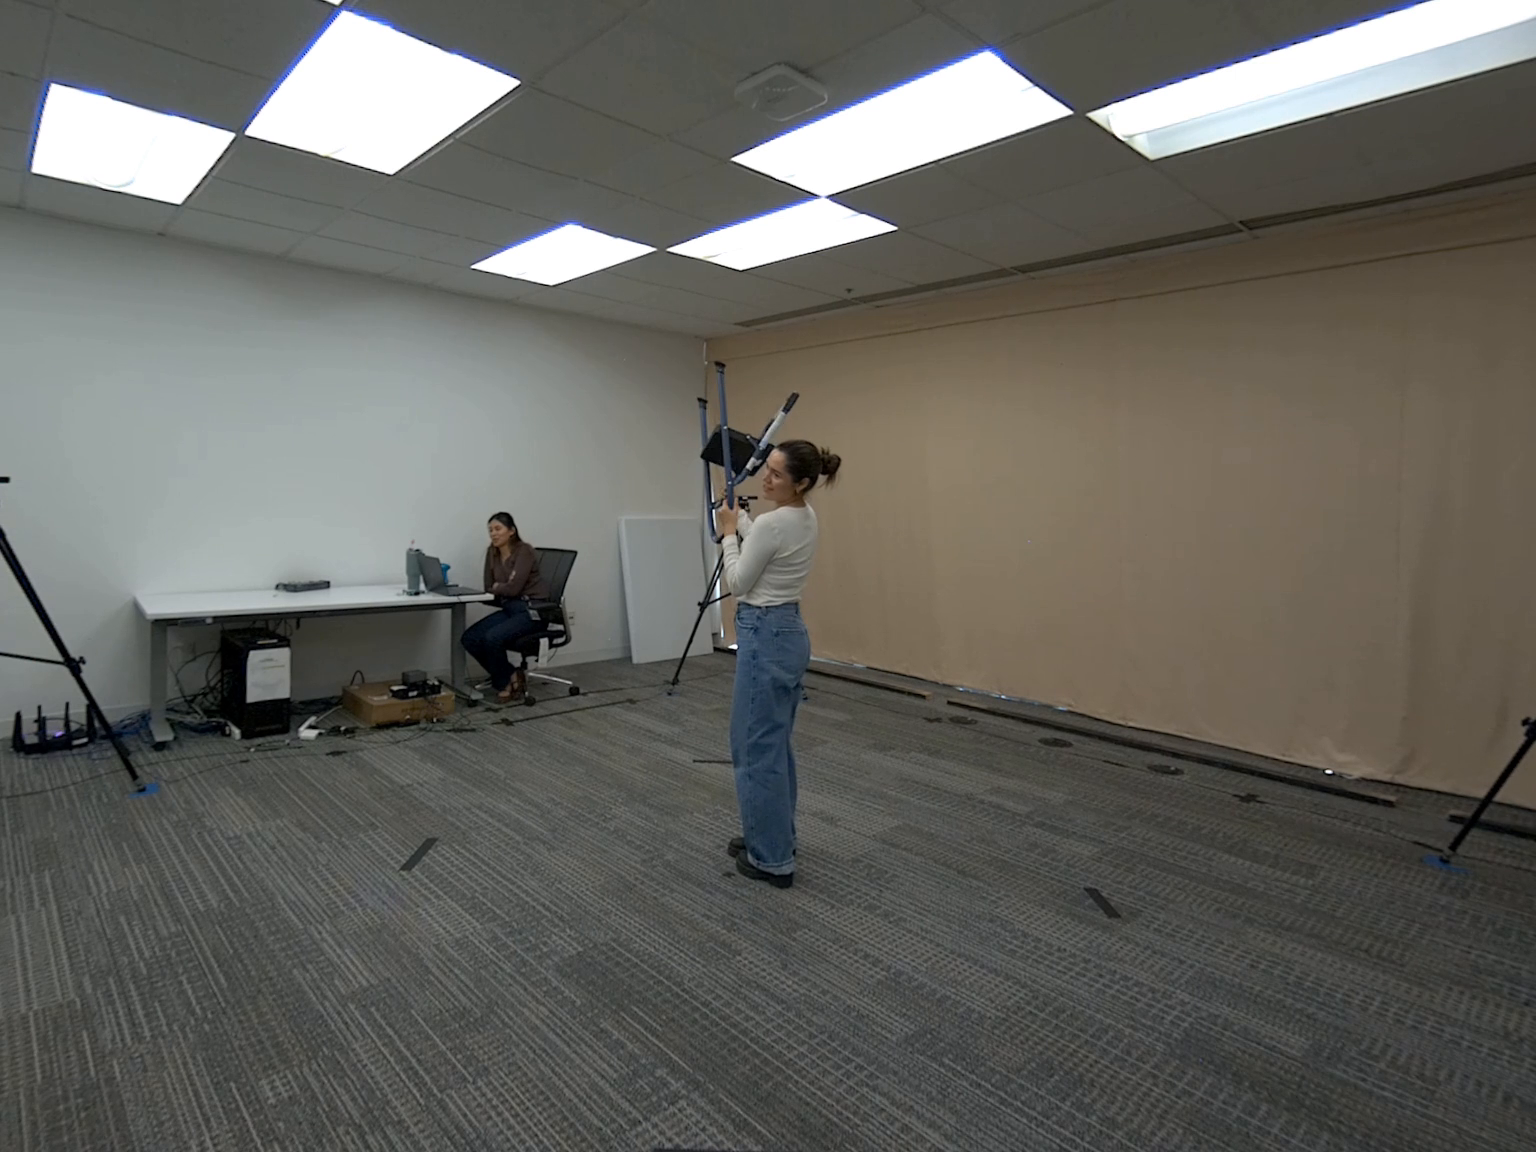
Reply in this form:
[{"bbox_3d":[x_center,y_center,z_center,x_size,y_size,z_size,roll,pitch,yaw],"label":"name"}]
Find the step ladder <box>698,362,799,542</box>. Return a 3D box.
[{"bbox_3d":[-0.175,-0.445,3.338,0.347,0.610,0.431,17,-14,-9],"label":"step ladder"}]
